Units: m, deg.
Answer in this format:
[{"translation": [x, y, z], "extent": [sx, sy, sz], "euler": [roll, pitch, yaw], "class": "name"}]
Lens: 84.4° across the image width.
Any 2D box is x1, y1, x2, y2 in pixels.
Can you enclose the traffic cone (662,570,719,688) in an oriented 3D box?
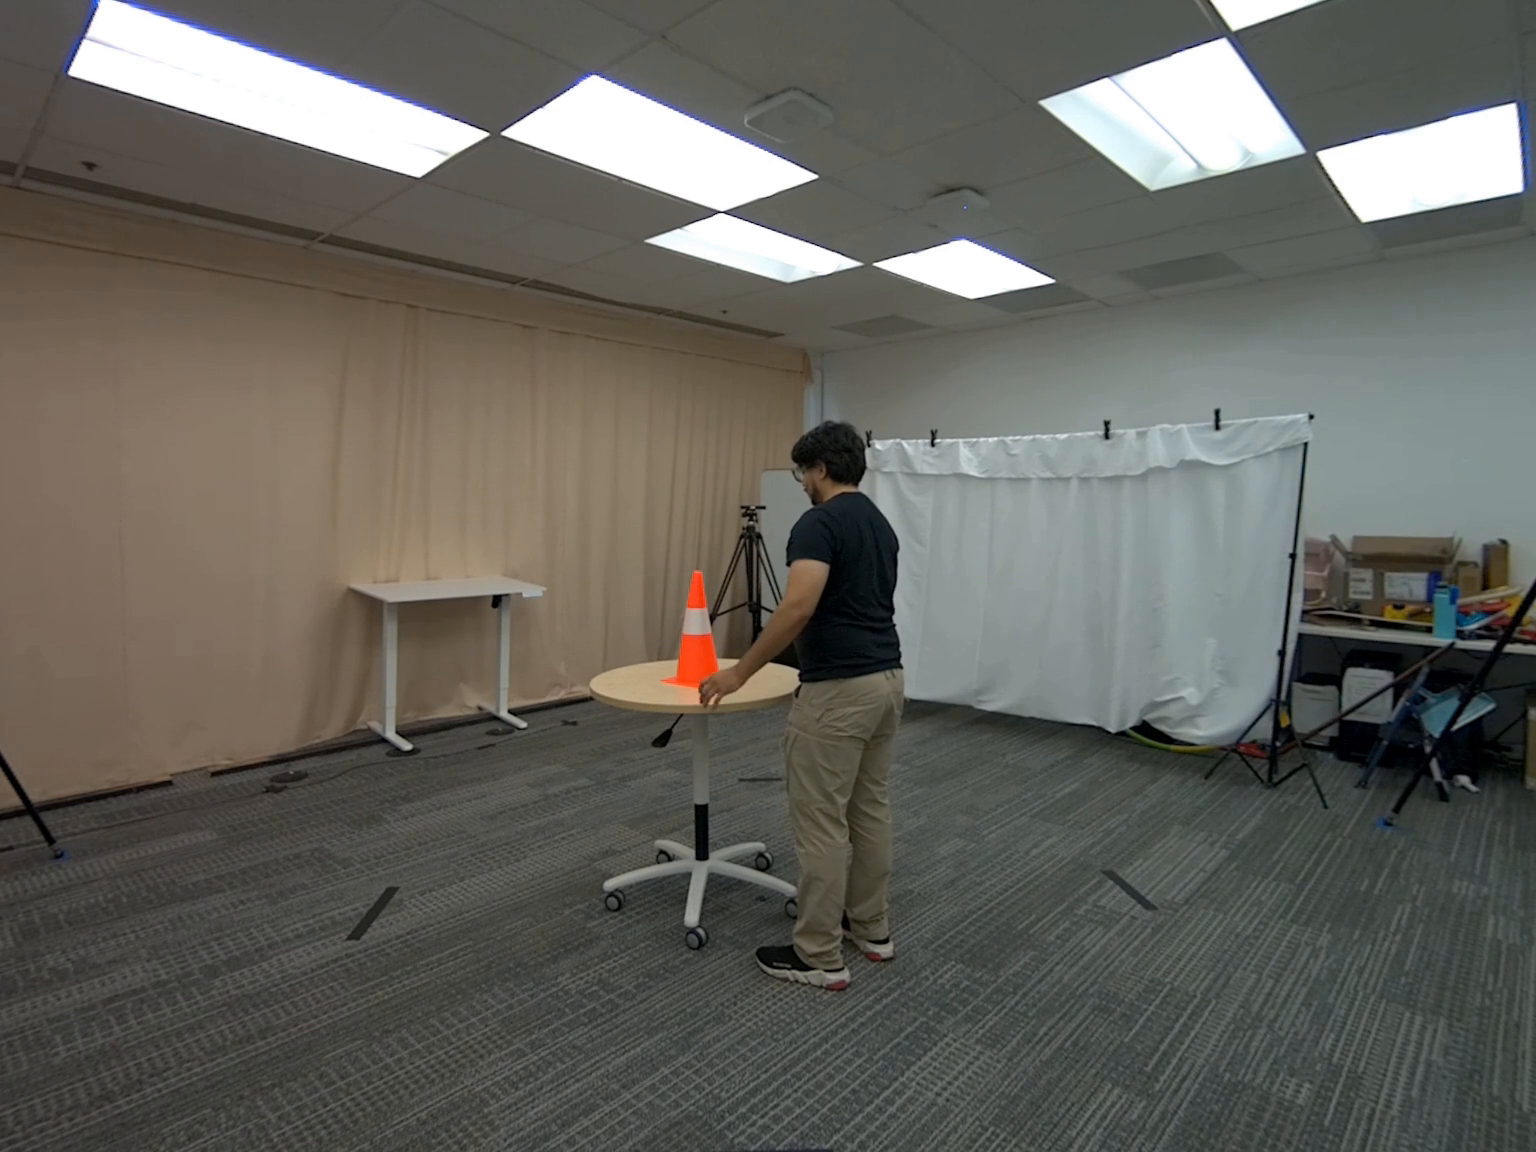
[{"translation": [-0.250, 0.180, 2.942], "extent": [0.211, 0.383, 0.197], "euler": [0, 2, 37], "class": "traffic cone"}]
